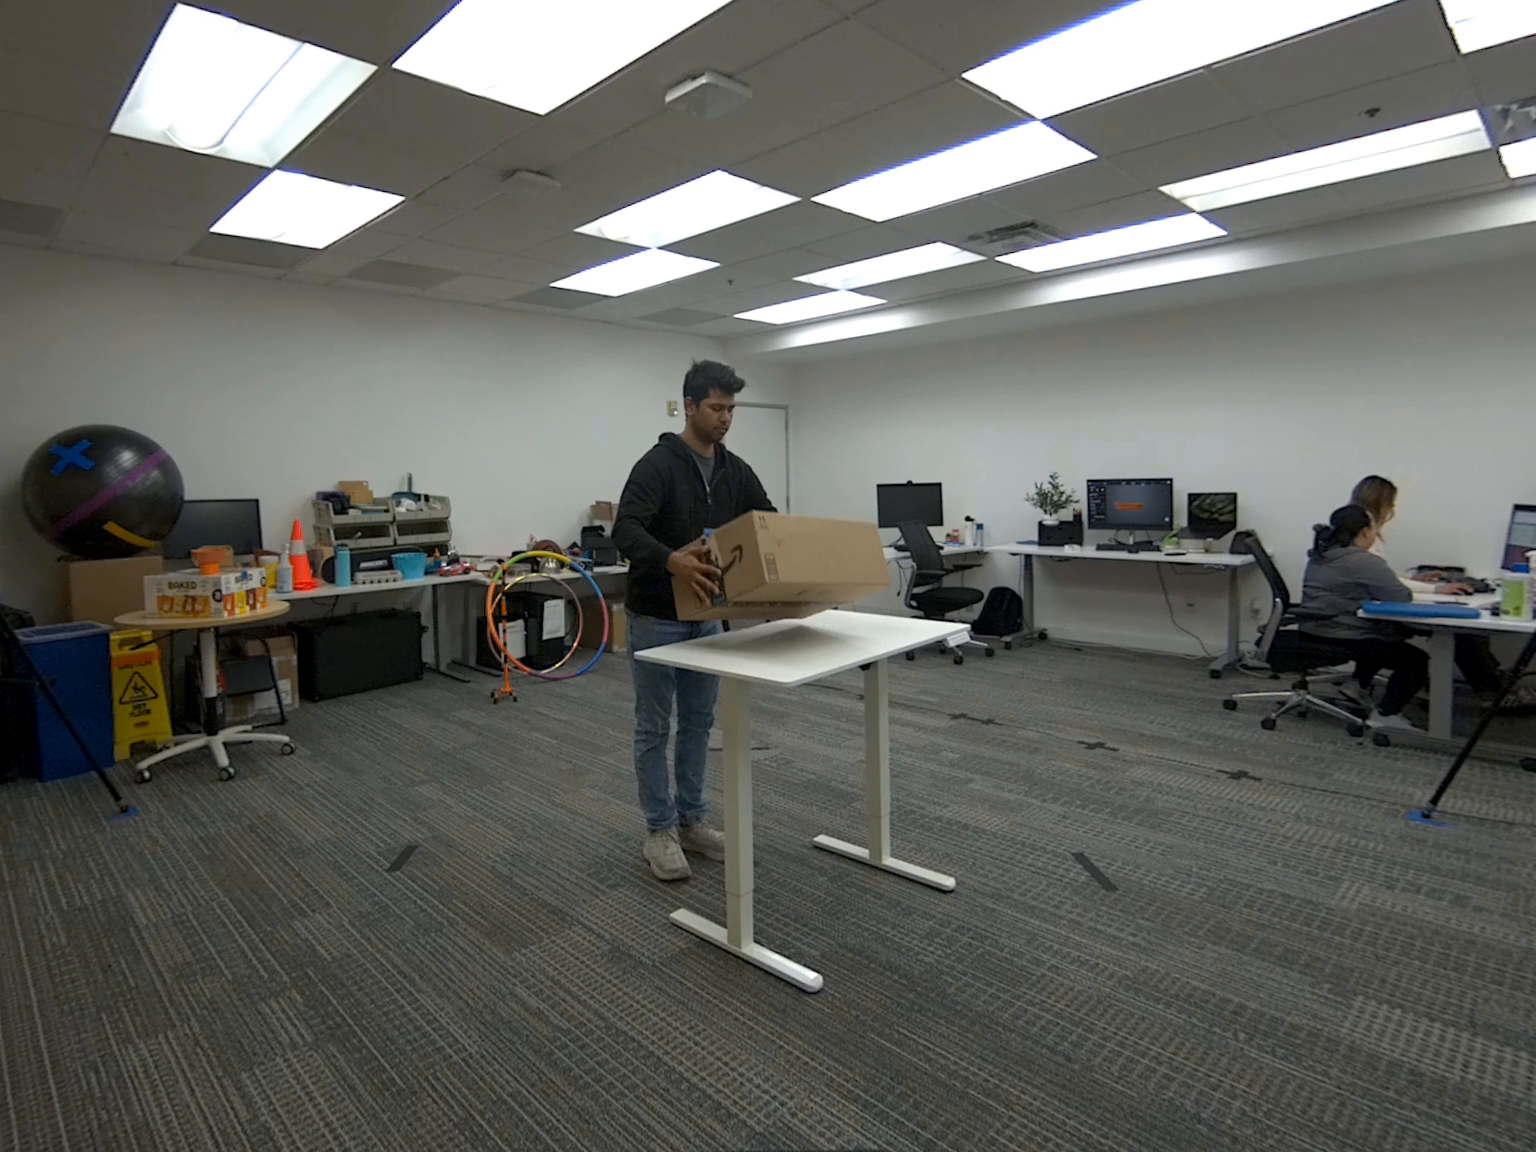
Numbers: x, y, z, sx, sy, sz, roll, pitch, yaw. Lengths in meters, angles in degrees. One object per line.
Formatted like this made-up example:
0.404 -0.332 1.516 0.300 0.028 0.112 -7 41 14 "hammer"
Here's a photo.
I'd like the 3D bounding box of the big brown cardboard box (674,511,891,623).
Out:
0.033 -0.021 2.728 0.571 0.237 0.423 1 -18 -43 "big brown cardboard box"
